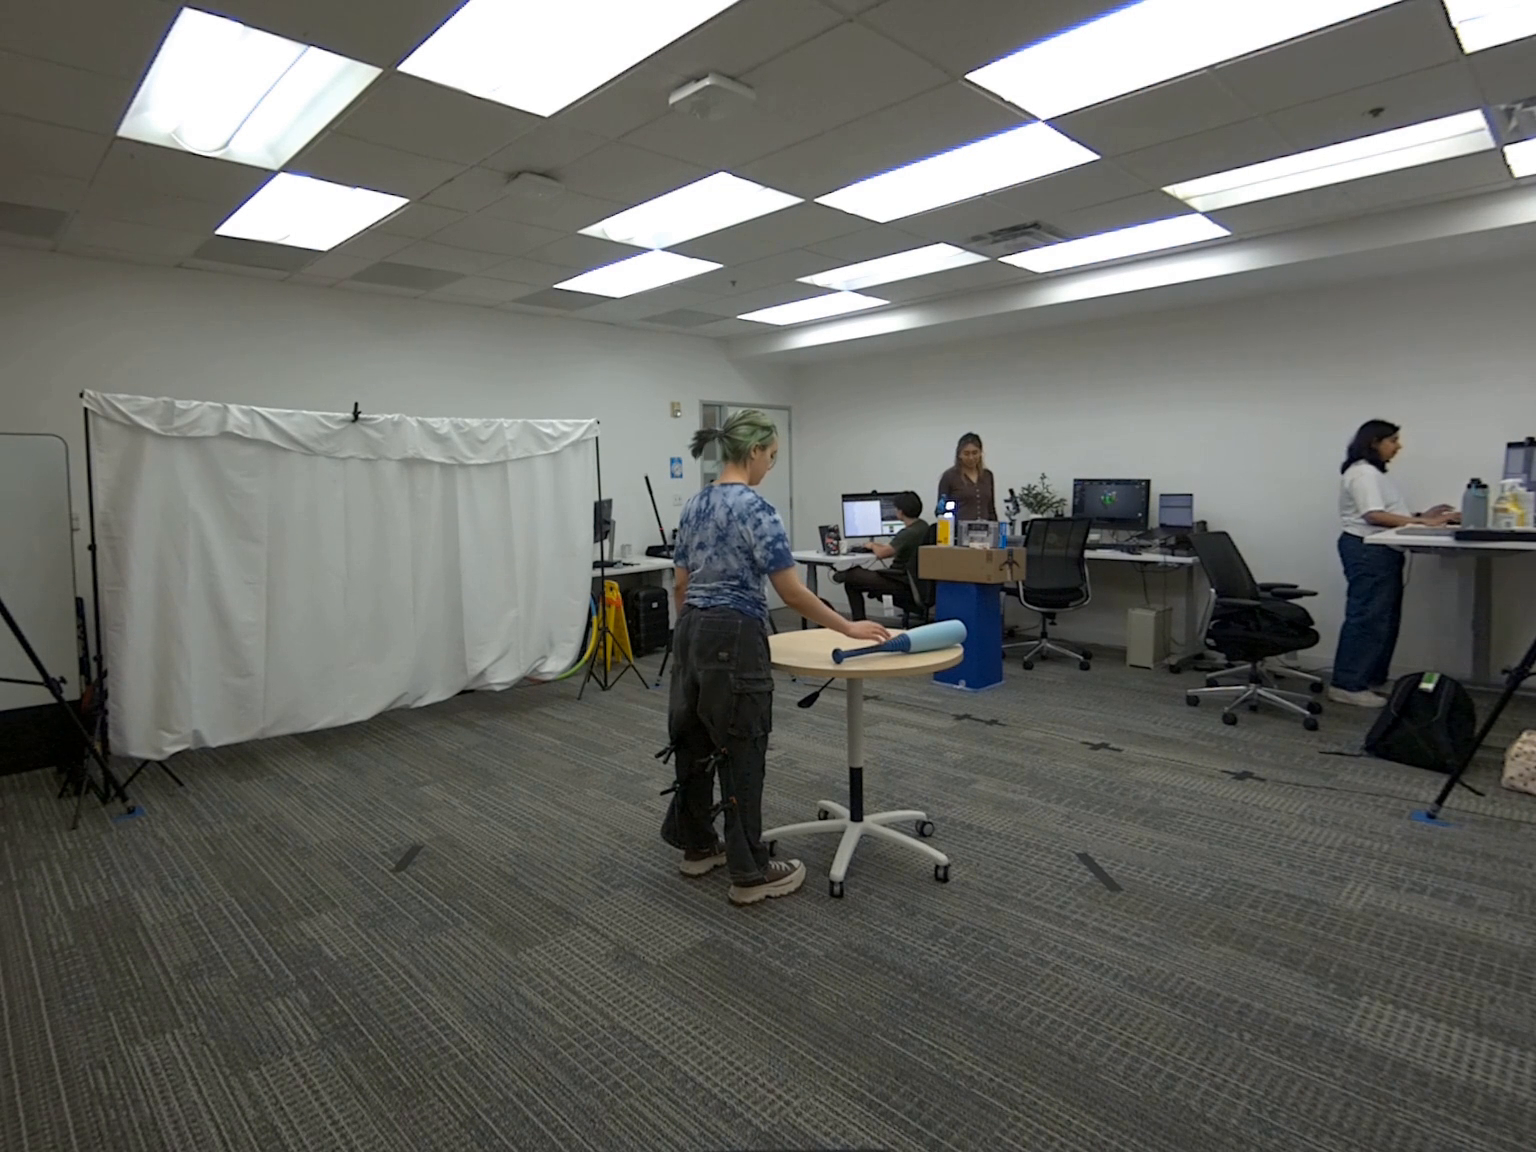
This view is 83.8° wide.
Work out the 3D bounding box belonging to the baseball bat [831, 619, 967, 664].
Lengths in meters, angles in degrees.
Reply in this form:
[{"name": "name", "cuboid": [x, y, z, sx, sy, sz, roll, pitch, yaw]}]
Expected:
[{"name": "baseball bat", "cuboid": [0.457, 0.237, 2.932, 0.532, 0.088, 0.091, -9, 8, -26]}]
